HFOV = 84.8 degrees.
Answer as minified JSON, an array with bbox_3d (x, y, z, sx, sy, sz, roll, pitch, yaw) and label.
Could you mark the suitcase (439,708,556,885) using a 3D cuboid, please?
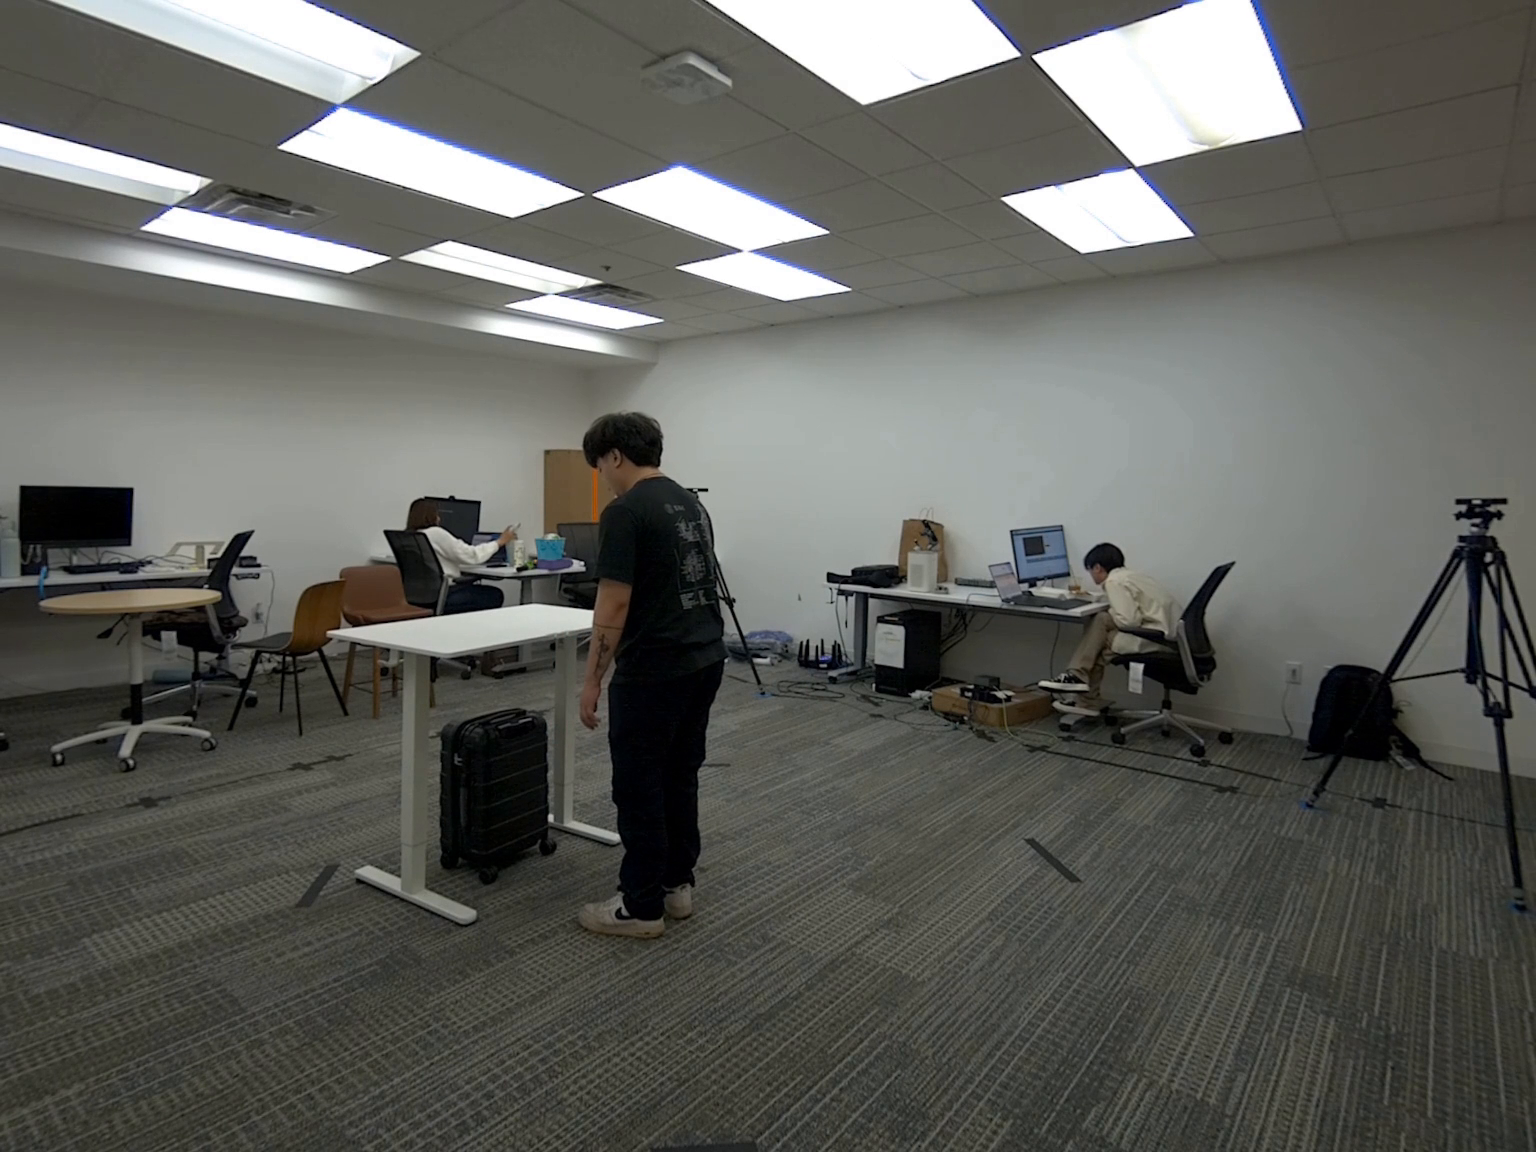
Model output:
[{"bbox_3d":[-1.026,0.779,3.151,0.256,0.548,0.365,0,3,33],"label":"suitcase"}]
